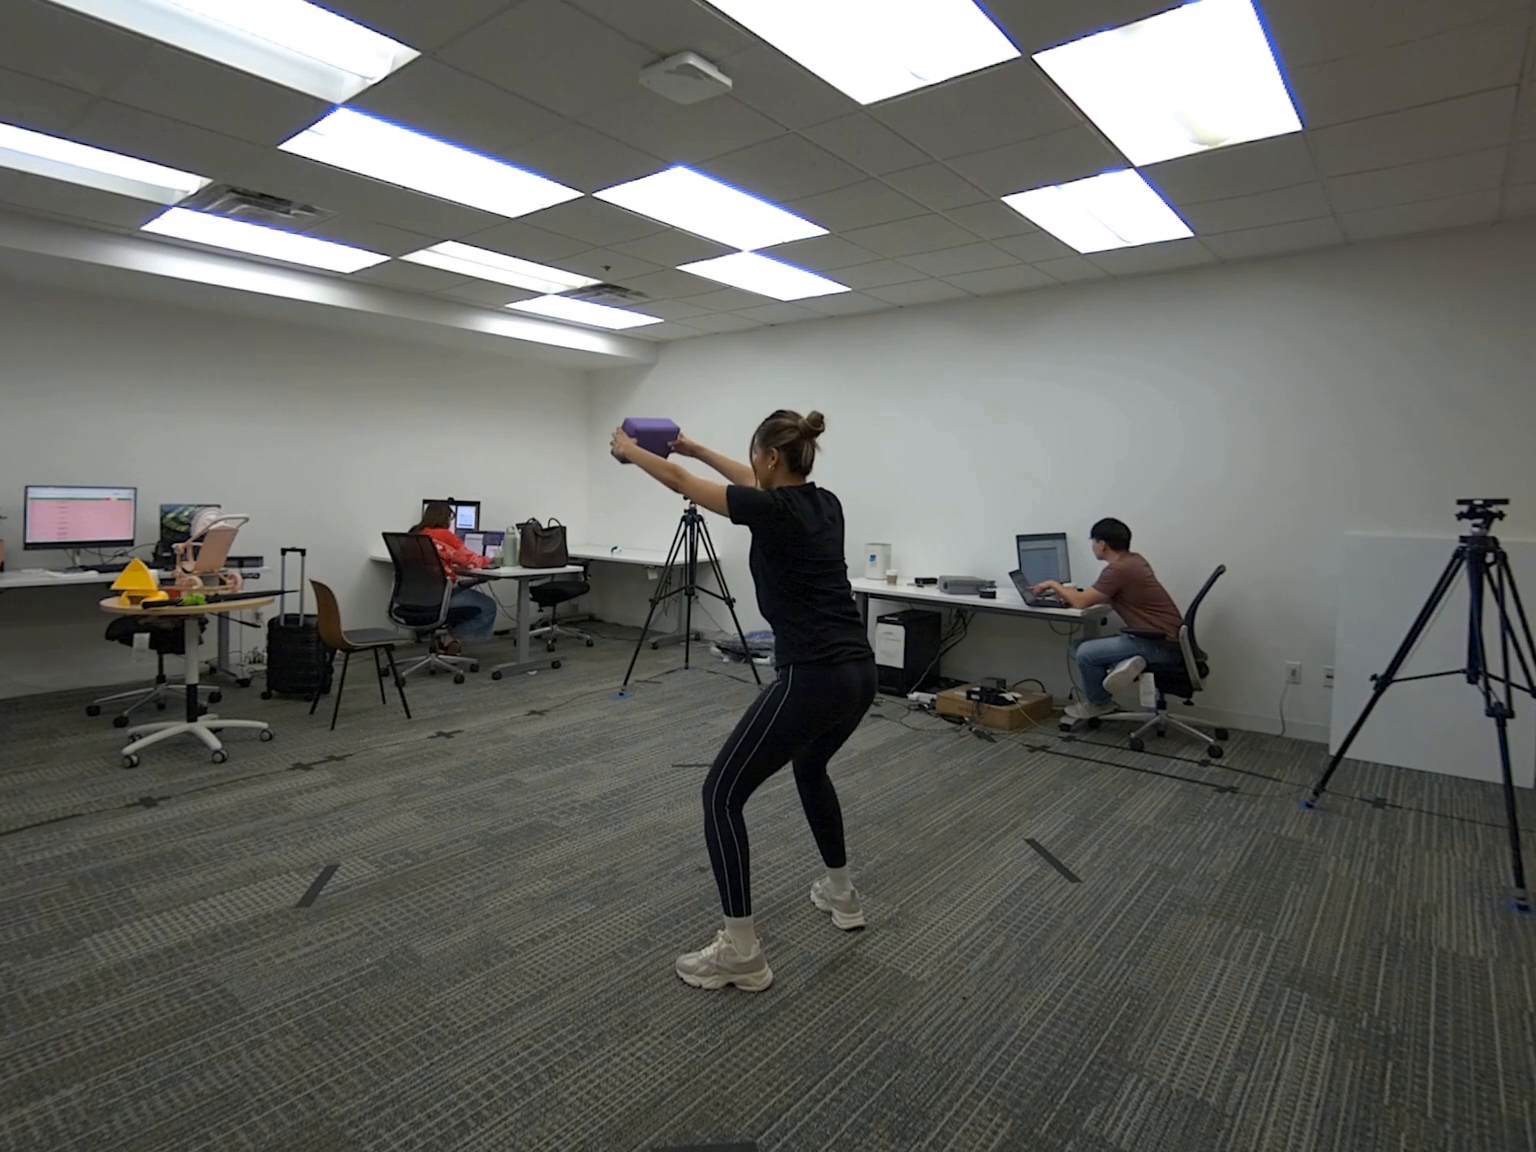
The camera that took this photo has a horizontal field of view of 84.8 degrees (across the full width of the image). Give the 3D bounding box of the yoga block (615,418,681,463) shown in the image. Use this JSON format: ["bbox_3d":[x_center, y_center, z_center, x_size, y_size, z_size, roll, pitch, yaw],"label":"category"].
[{"bbox_3d":[-0.434,-0.468,2.947,0.079,0.148,0.224,41,28,22],"label":"yoga block"}]
